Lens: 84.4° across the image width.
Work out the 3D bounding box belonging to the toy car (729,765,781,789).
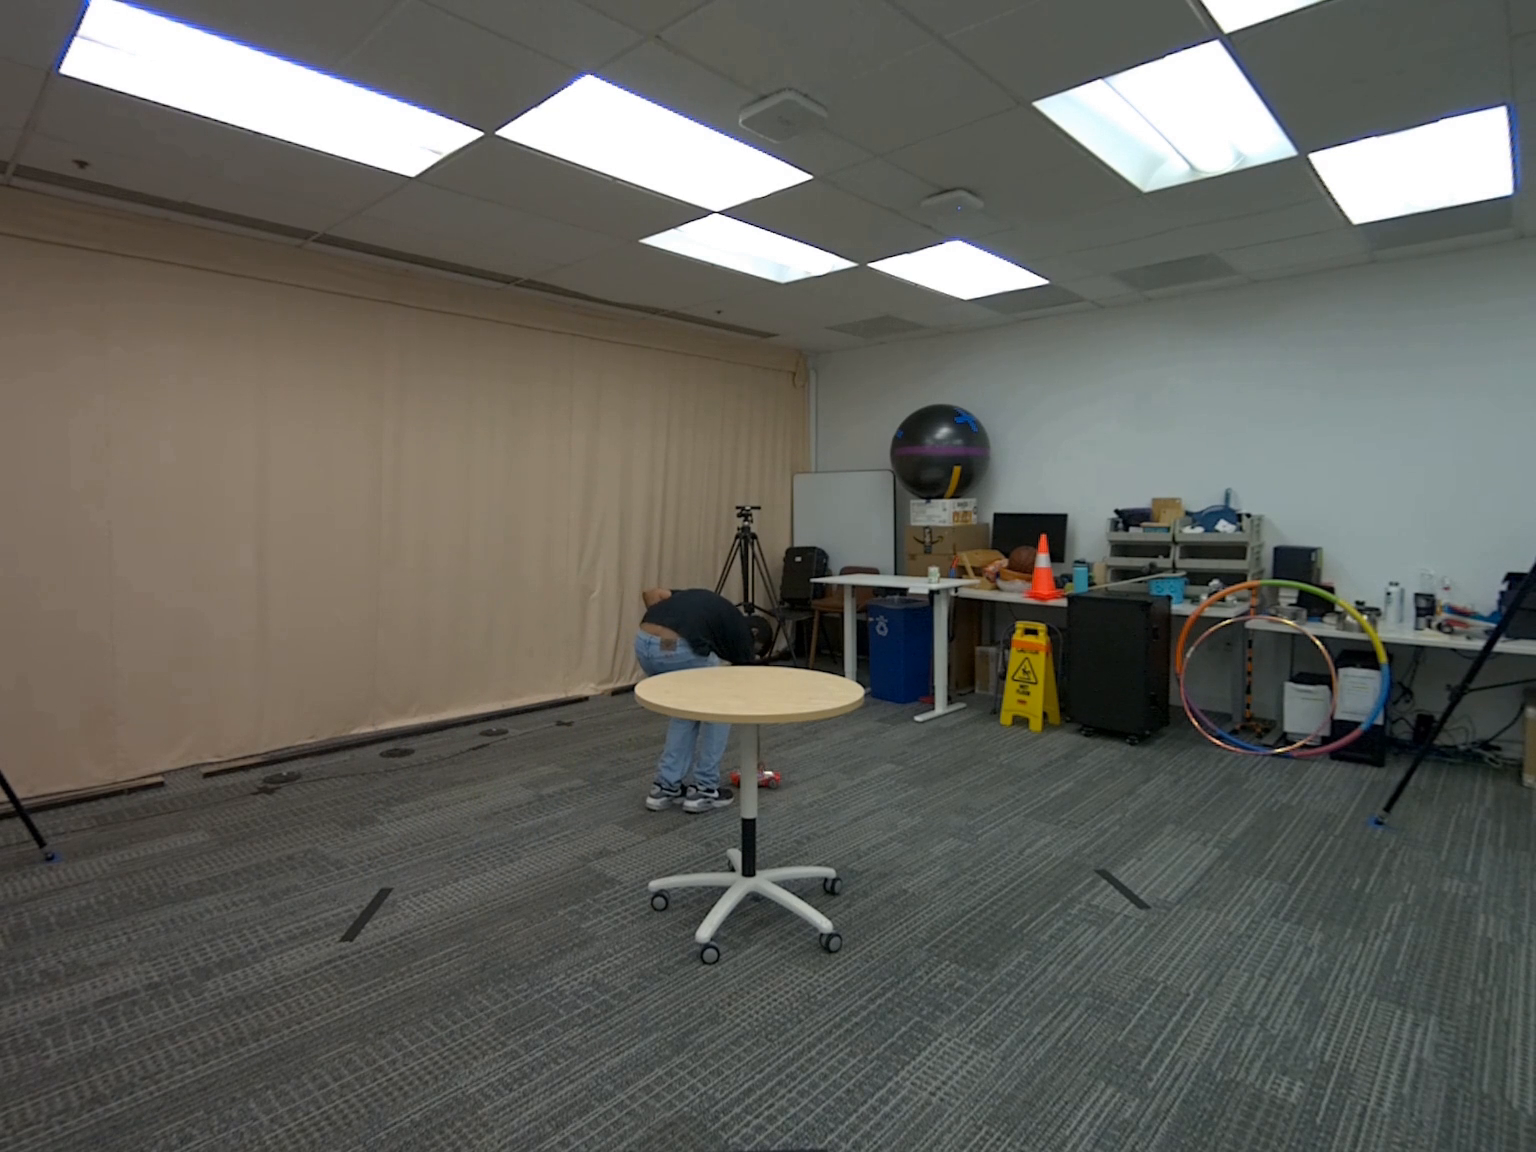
[{"bbox_3d":[-0.072,0.994,4.212,0.256,0.083,0.130,9,6,6],"label":"toy car"}]
